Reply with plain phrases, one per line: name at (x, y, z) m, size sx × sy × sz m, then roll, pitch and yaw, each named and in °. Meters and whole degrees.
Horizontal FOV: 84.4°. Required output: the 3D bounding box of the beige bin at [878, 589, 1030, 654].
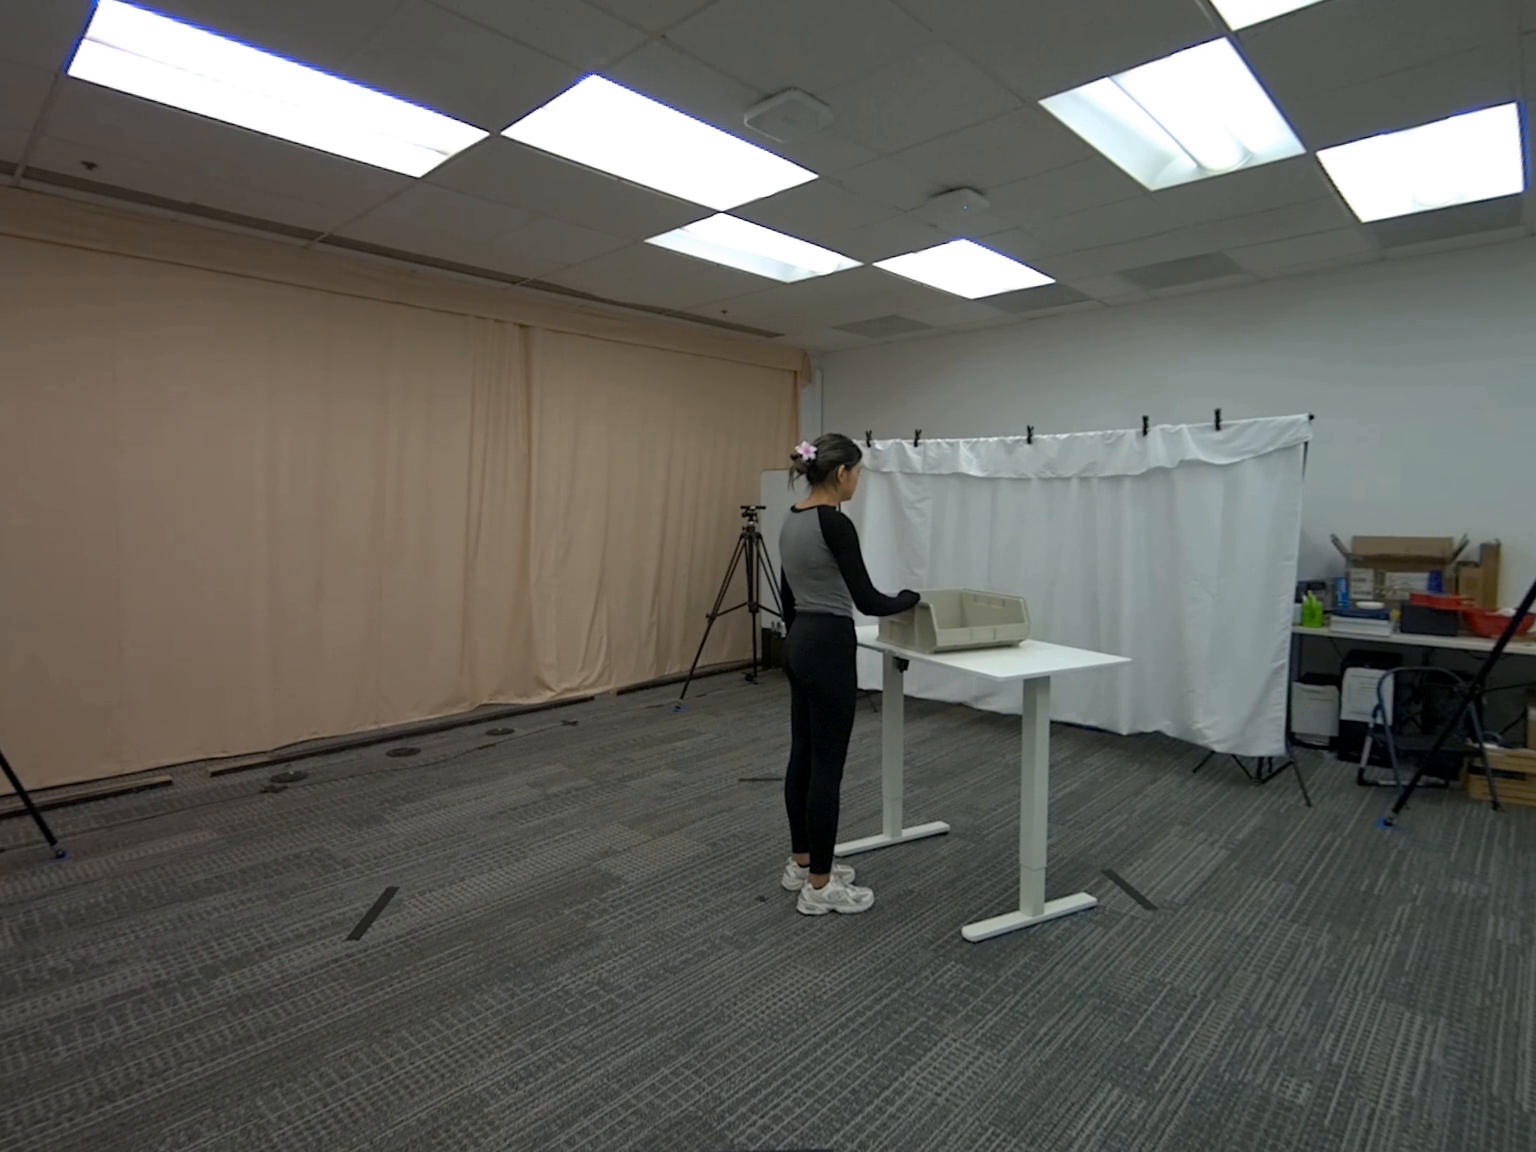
beige bin at (0.673, 0.165, 3.080) m, size 0.413 × 0.188 × 0.387 m, roll -3°, pitch 4°, yaw -24°
